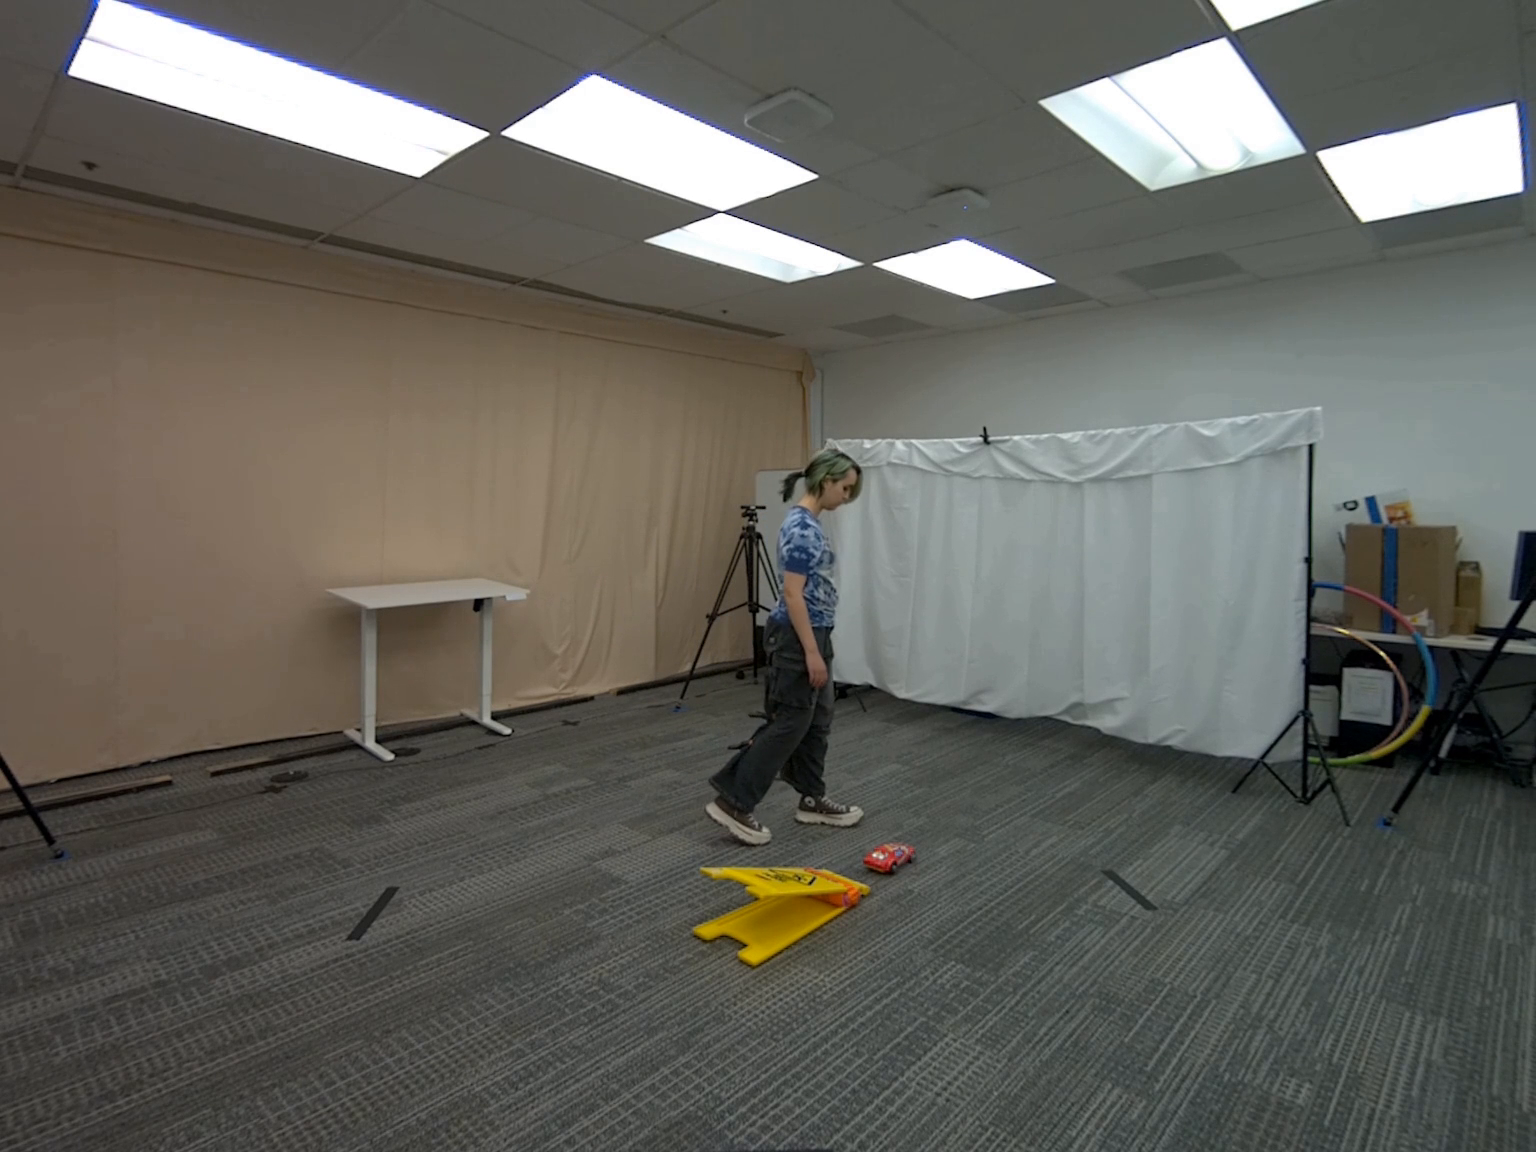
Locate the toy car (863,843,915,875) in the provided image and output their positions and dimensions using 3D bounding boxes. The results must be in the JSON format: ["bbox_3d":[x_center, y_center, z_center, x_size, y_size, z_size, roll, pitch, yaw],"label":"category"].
[{"bbox_3d":[0.466,1.087,3.251,0.135,0.083,0.246,4,-6,42],"label":"toy car"}]
